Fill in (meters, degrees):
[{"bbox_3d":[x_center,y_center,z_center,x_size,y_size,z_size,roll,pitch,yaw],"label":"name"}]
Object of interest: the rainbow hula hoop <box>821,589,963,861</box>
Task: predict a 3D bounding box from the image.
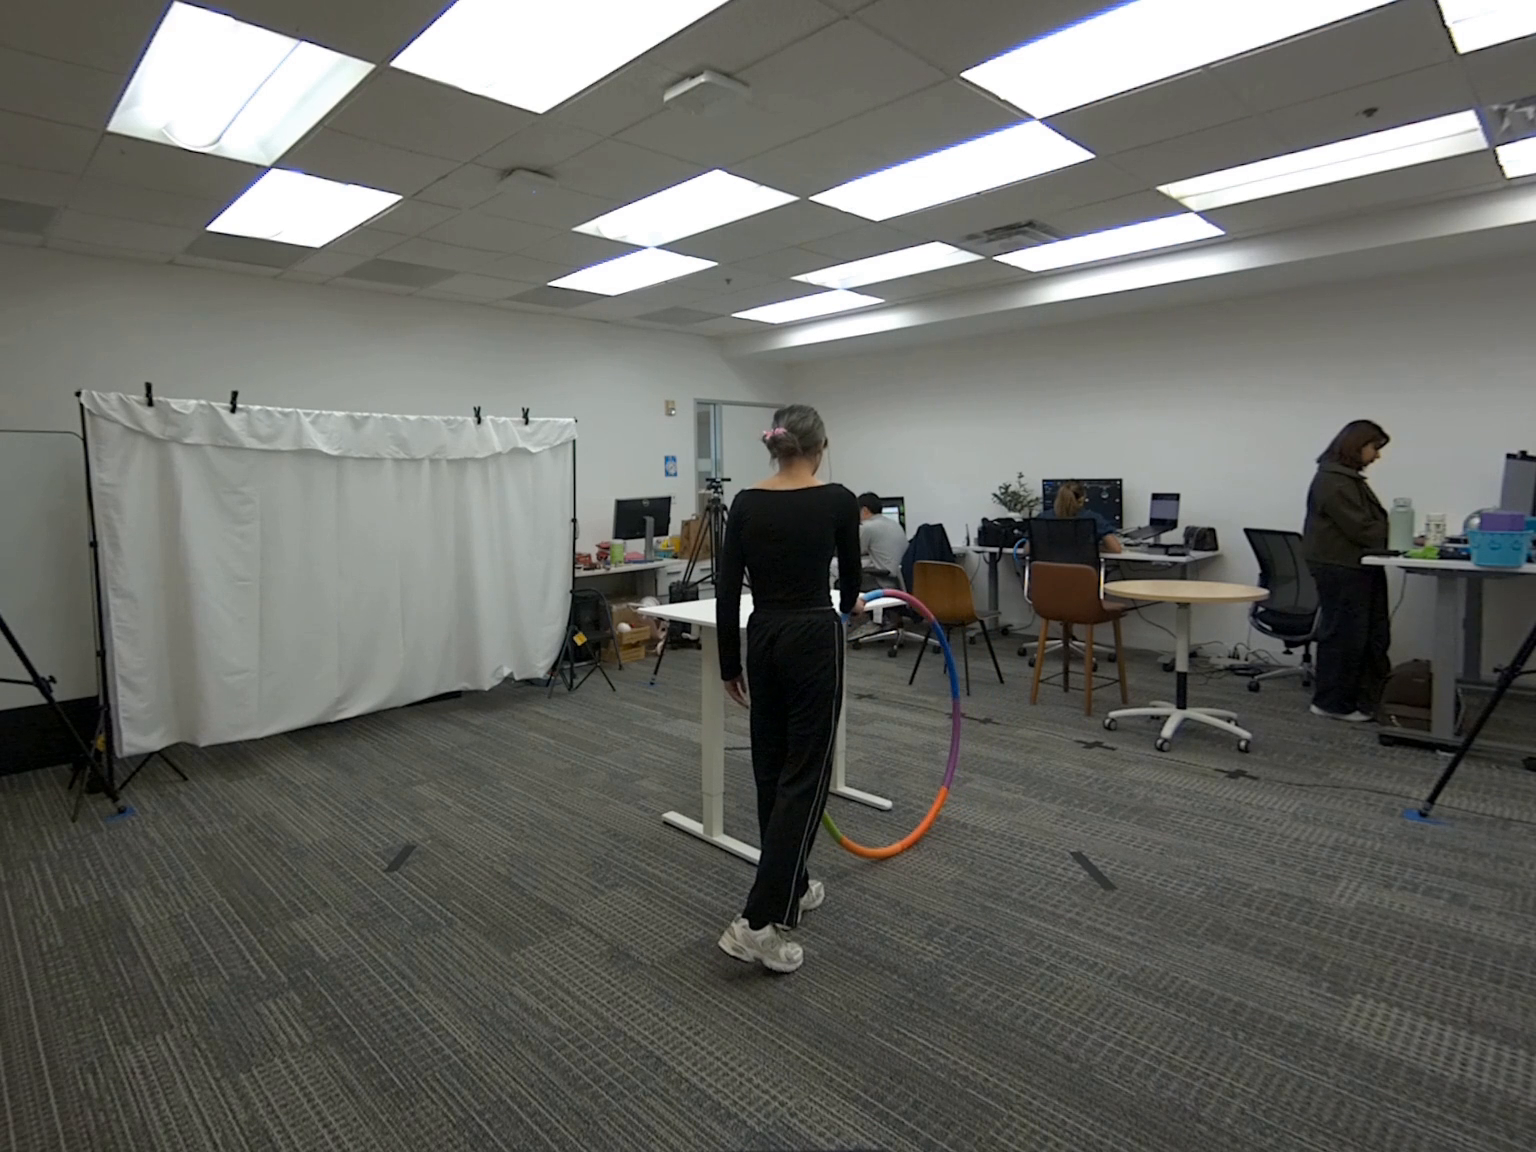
[{"bbox_3d":[0.454,0.540,3.184,0.036,0.978,0.953,-5,1,44],"label":"rainbow hula hoop"}]
